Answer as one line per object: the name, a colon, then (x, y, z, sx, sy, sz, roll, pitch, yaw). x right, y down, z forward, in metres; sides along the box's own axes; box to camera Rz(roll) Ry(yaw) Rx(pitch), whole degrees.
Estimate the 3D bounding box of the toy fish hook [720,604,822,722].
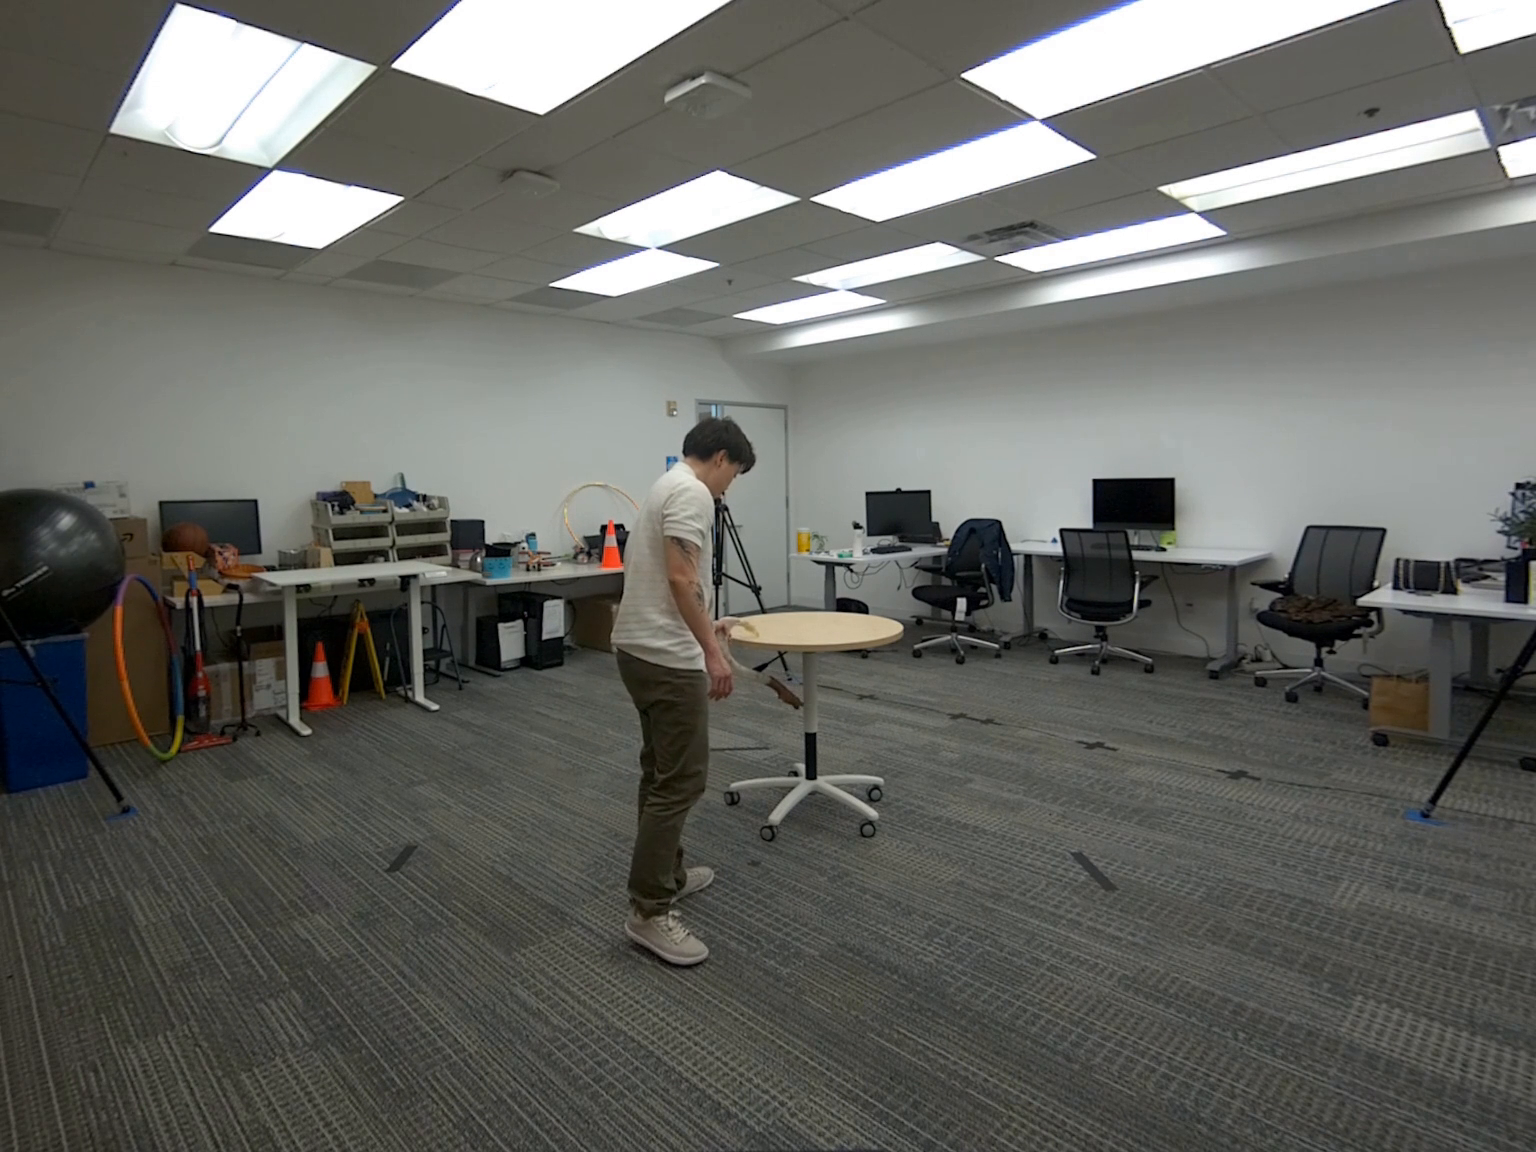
toy fish hook: (-0.012, 0.338, 3.311, 0.490, 0.227, 0.049, 39, -29, -28)
